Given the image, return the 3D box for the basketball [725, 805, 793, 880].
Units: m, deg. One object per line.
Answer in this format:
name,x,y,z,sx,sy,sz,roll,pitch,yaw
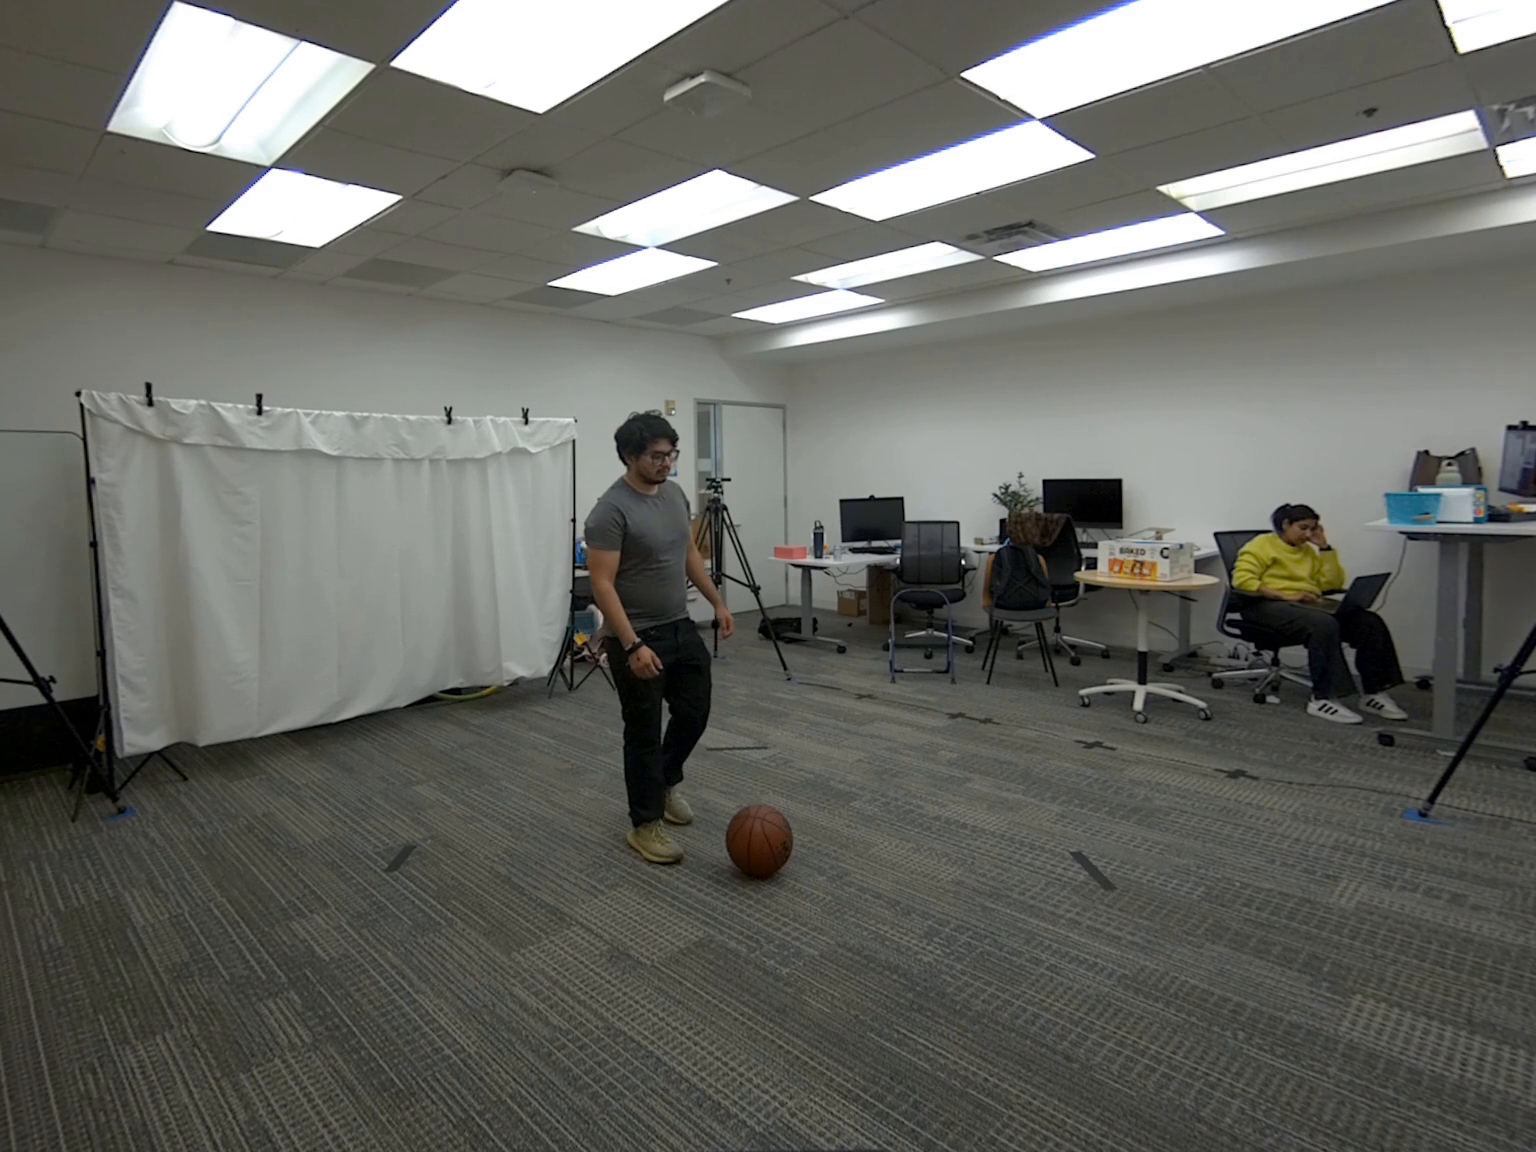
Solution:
basketball,-0.030,0.929,3.023,0.236,0.235,0.237,-1,5,-2
